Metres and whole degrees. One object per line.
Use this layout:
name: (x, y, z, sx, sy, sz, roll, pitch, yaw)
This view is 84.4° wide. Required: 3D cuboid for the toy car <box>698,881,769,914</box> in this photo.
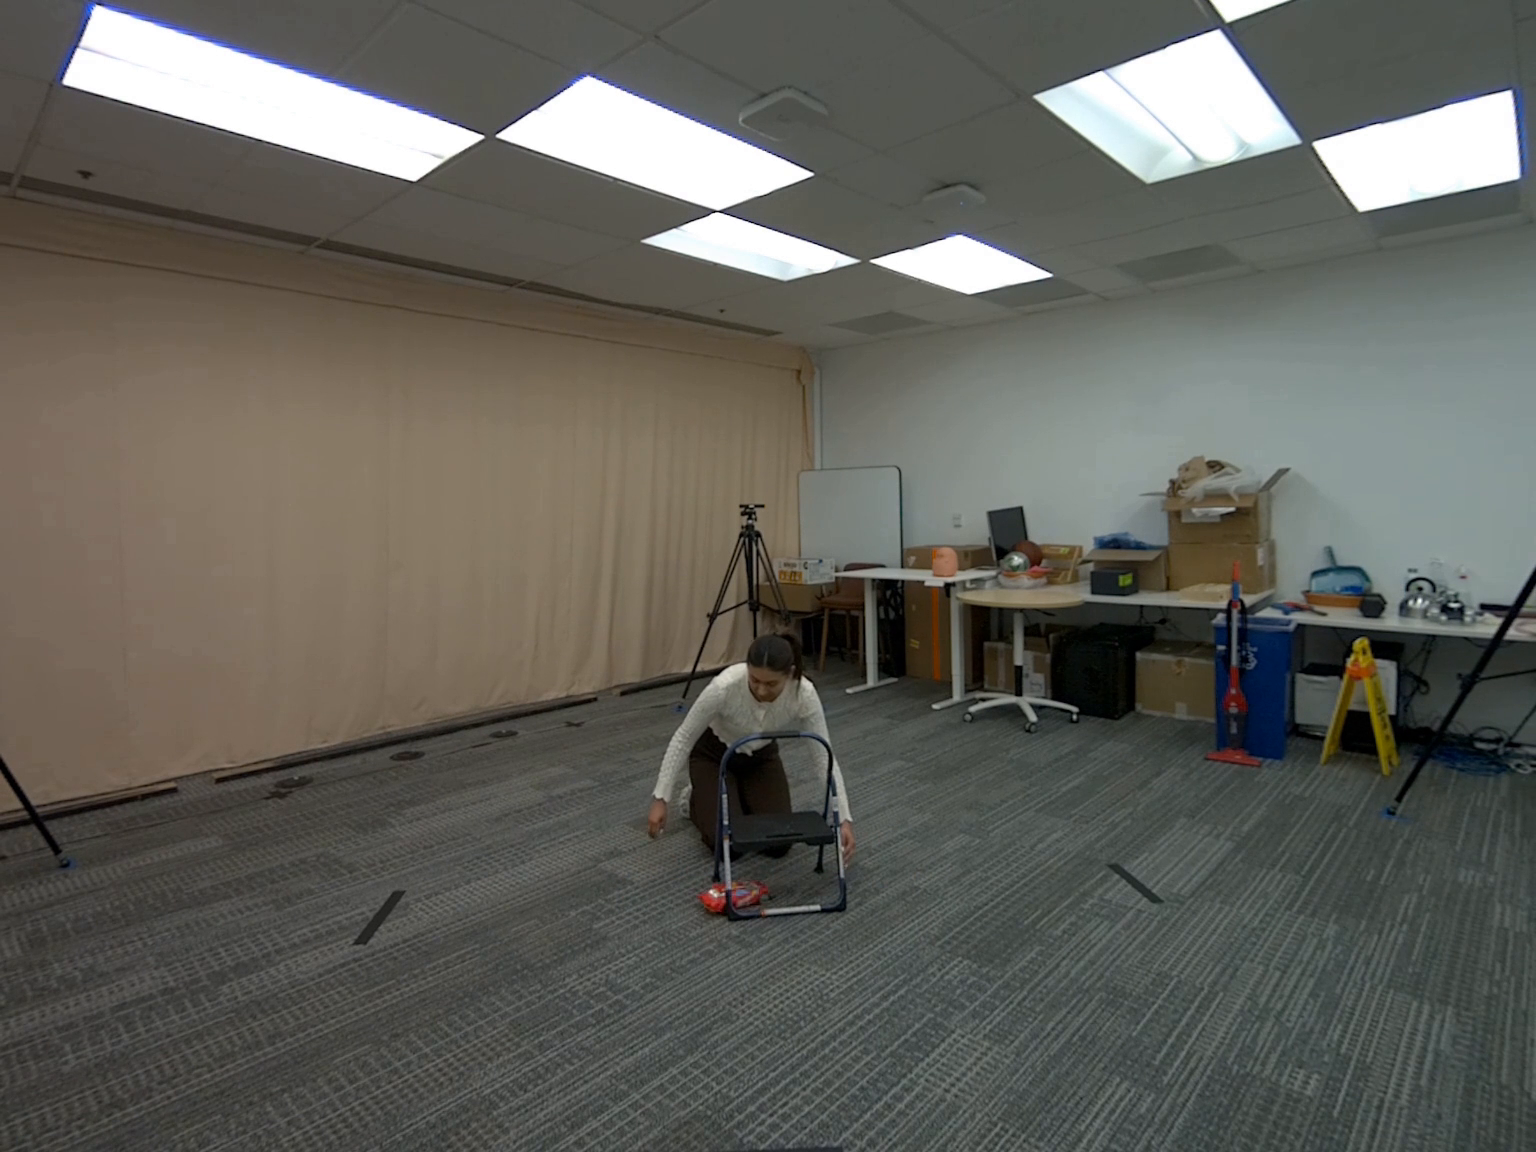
toy car: (-0.113, 1.116, 2.931, 0.247, 0.083, 0.134, 6, 0, -32)
